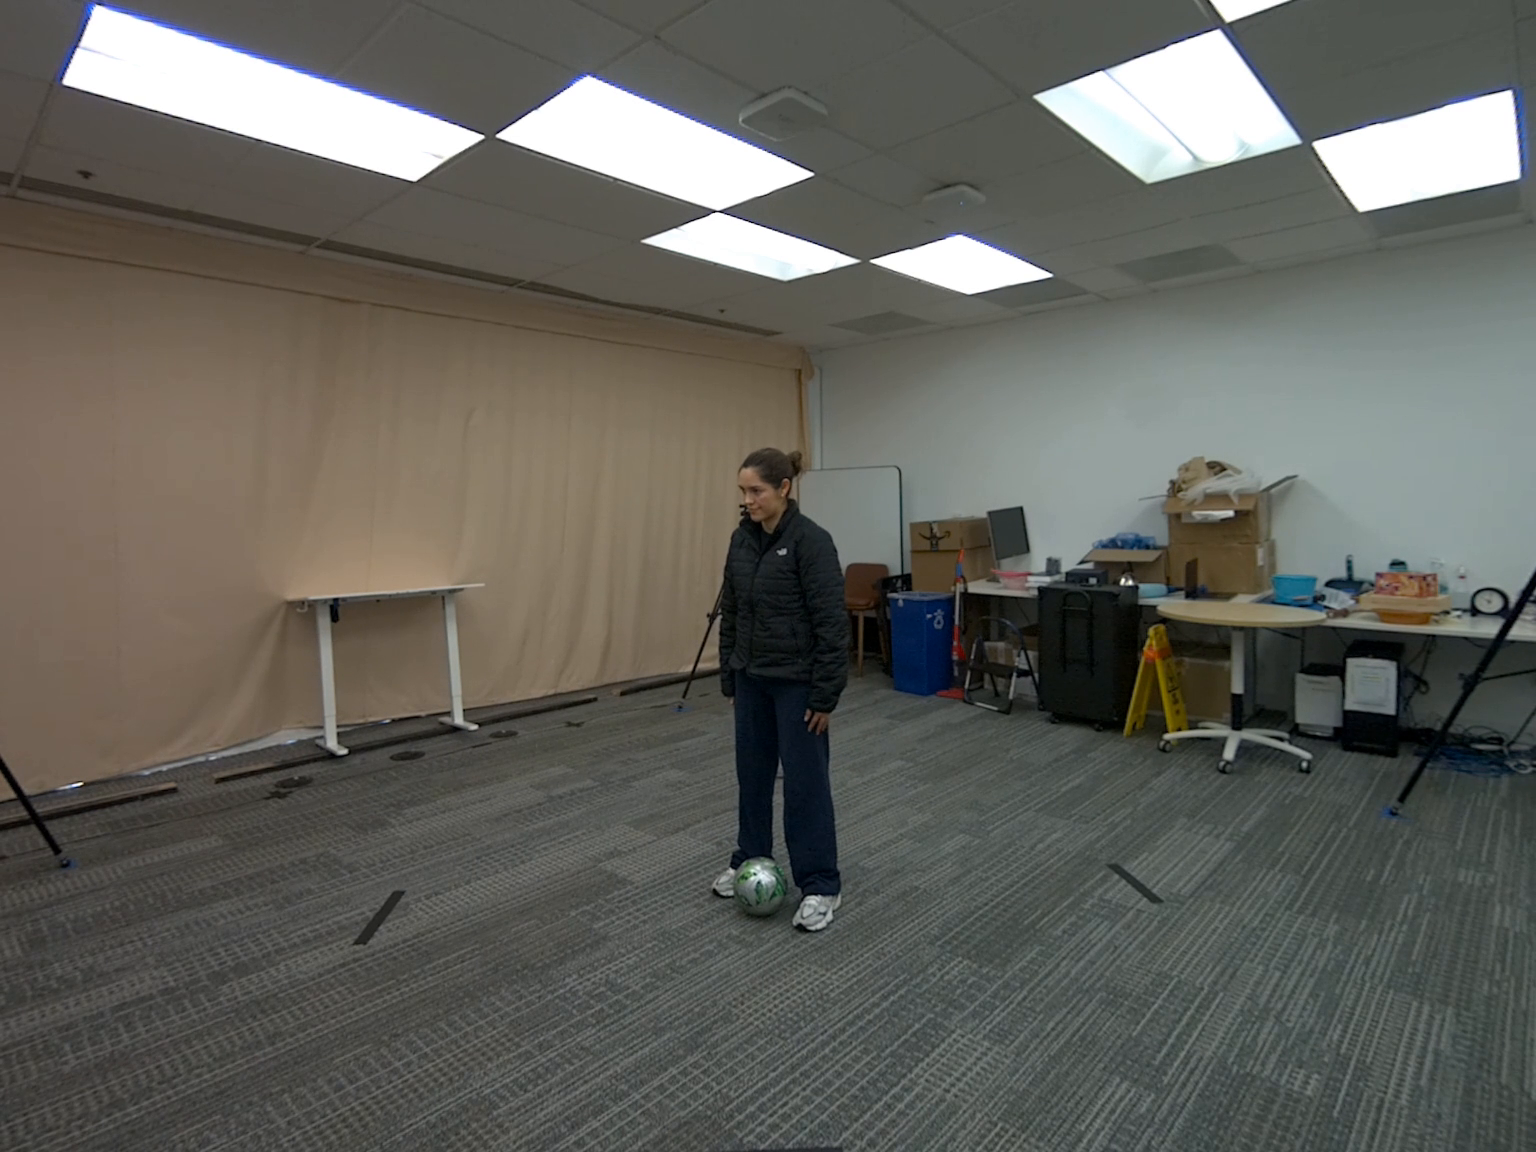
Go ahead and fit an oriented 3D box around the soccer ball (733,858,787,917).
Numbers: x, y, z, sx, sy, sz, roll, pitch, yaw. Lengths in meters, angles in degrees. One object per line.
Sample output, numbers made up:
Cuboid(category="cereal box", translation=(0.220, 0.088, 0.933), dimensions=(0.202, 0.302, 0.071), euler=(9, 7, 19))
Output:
Cuboid(category="soccer ball", translation=(-0.027, 1.054, 2.877), dimensions=(0.187, 0.187, 0.188), euler=(-1, 4, -2))
